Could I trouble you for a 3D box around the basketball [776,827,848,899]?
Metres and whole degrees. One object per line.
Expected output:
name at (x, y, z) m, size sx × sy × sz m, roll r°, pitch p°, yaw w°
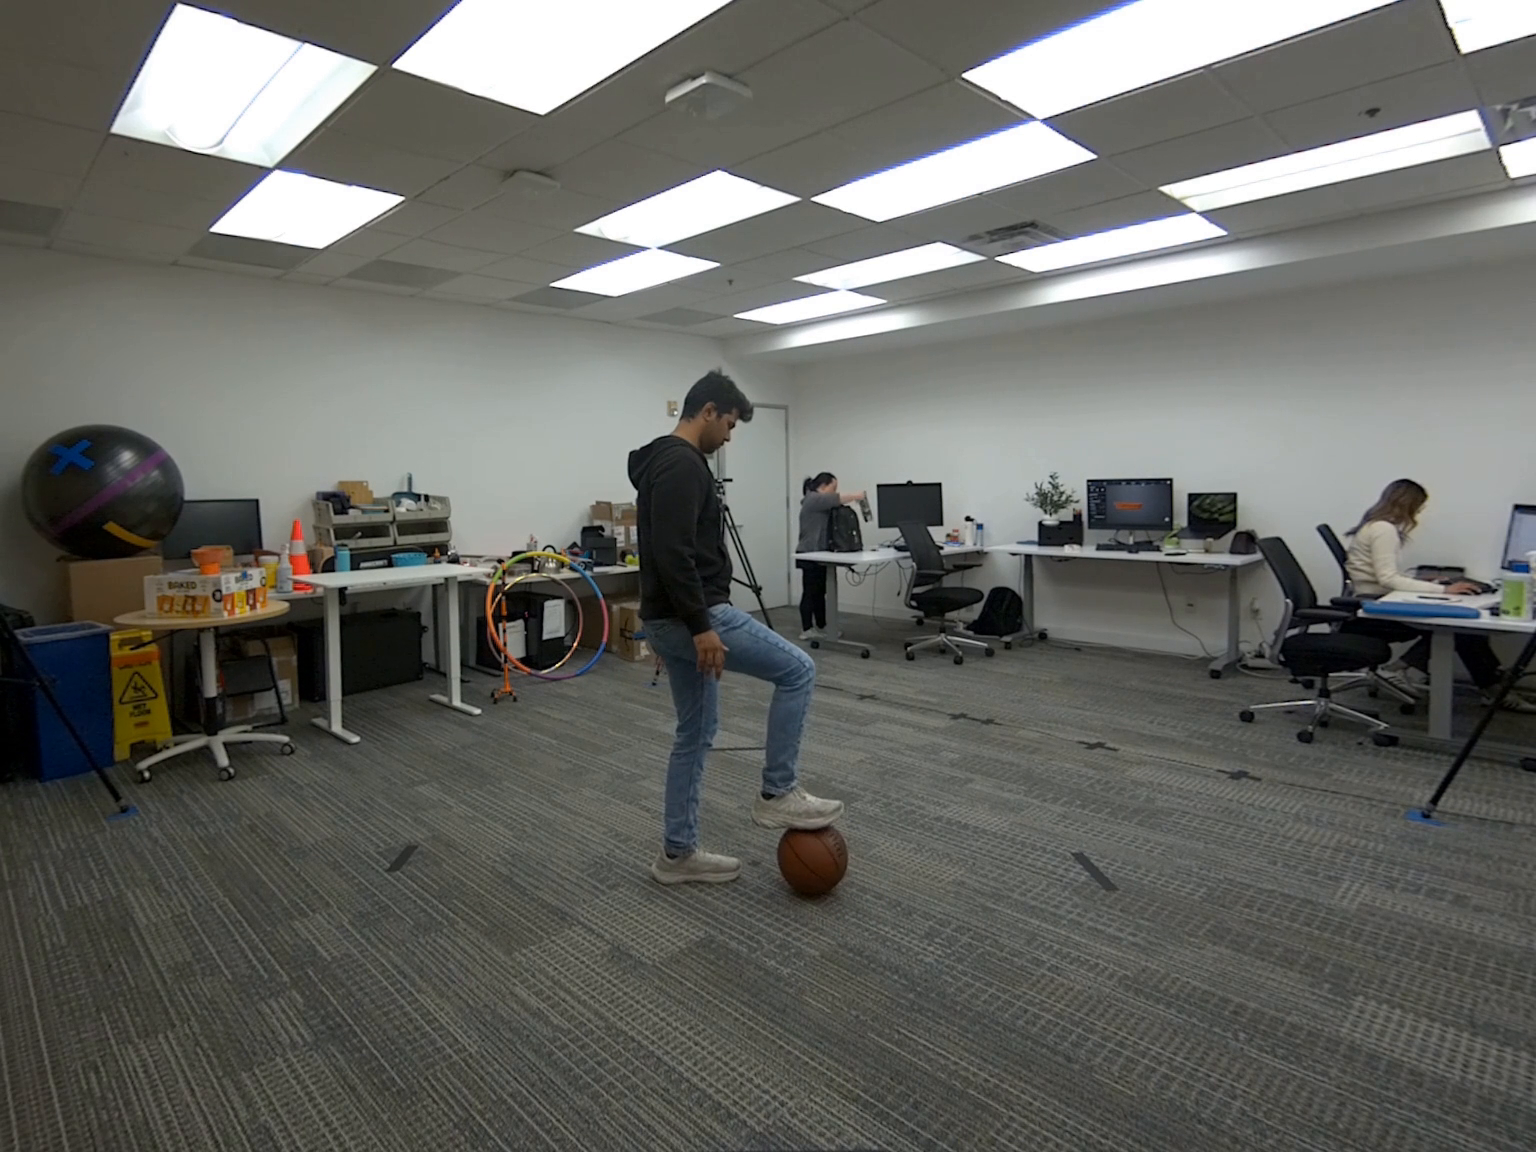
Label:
basketball at (0.157, 0.942, 2.885) m, size 0.236 × 0.235 × 0.237 m, roll -1°, pitch 5°, yaw -2°
